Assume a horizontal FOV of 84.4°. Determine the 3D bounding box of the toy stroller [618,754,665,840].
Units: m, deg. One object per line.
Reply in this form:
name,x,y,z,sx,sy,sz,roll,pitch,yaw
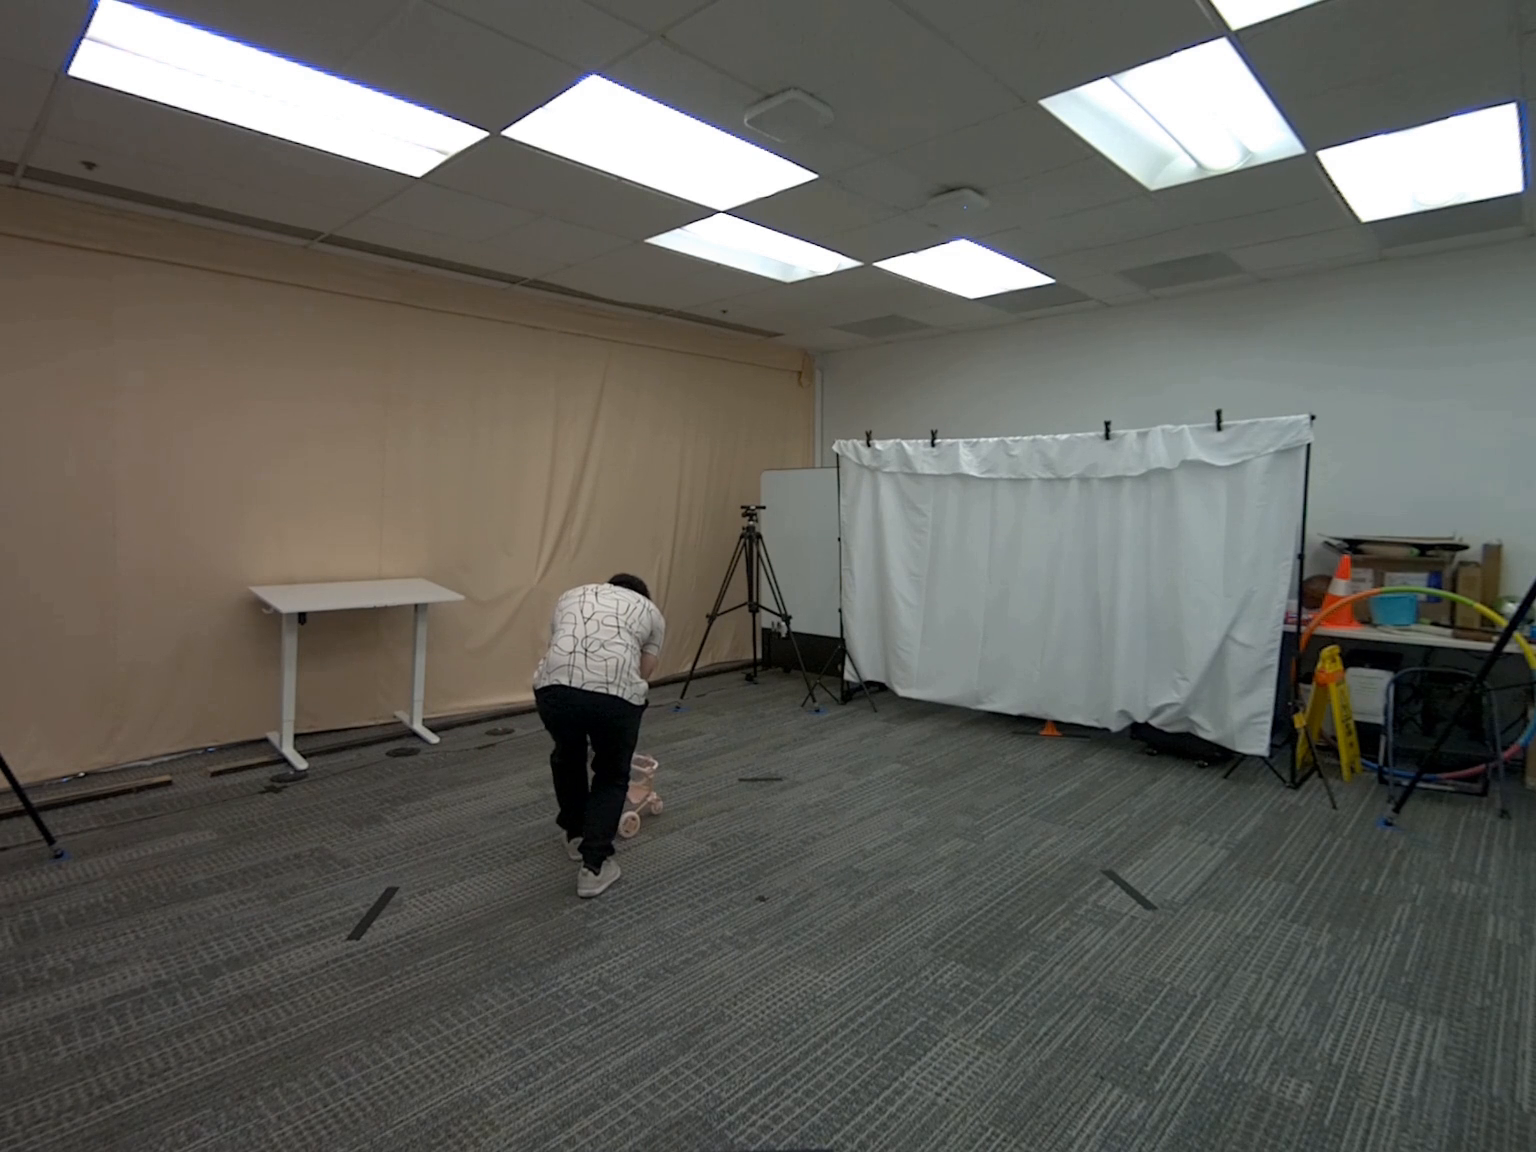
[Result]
toy stroller,-0.642,0.872,3.662,0.335,0.528,0.291,-27,21,-38
